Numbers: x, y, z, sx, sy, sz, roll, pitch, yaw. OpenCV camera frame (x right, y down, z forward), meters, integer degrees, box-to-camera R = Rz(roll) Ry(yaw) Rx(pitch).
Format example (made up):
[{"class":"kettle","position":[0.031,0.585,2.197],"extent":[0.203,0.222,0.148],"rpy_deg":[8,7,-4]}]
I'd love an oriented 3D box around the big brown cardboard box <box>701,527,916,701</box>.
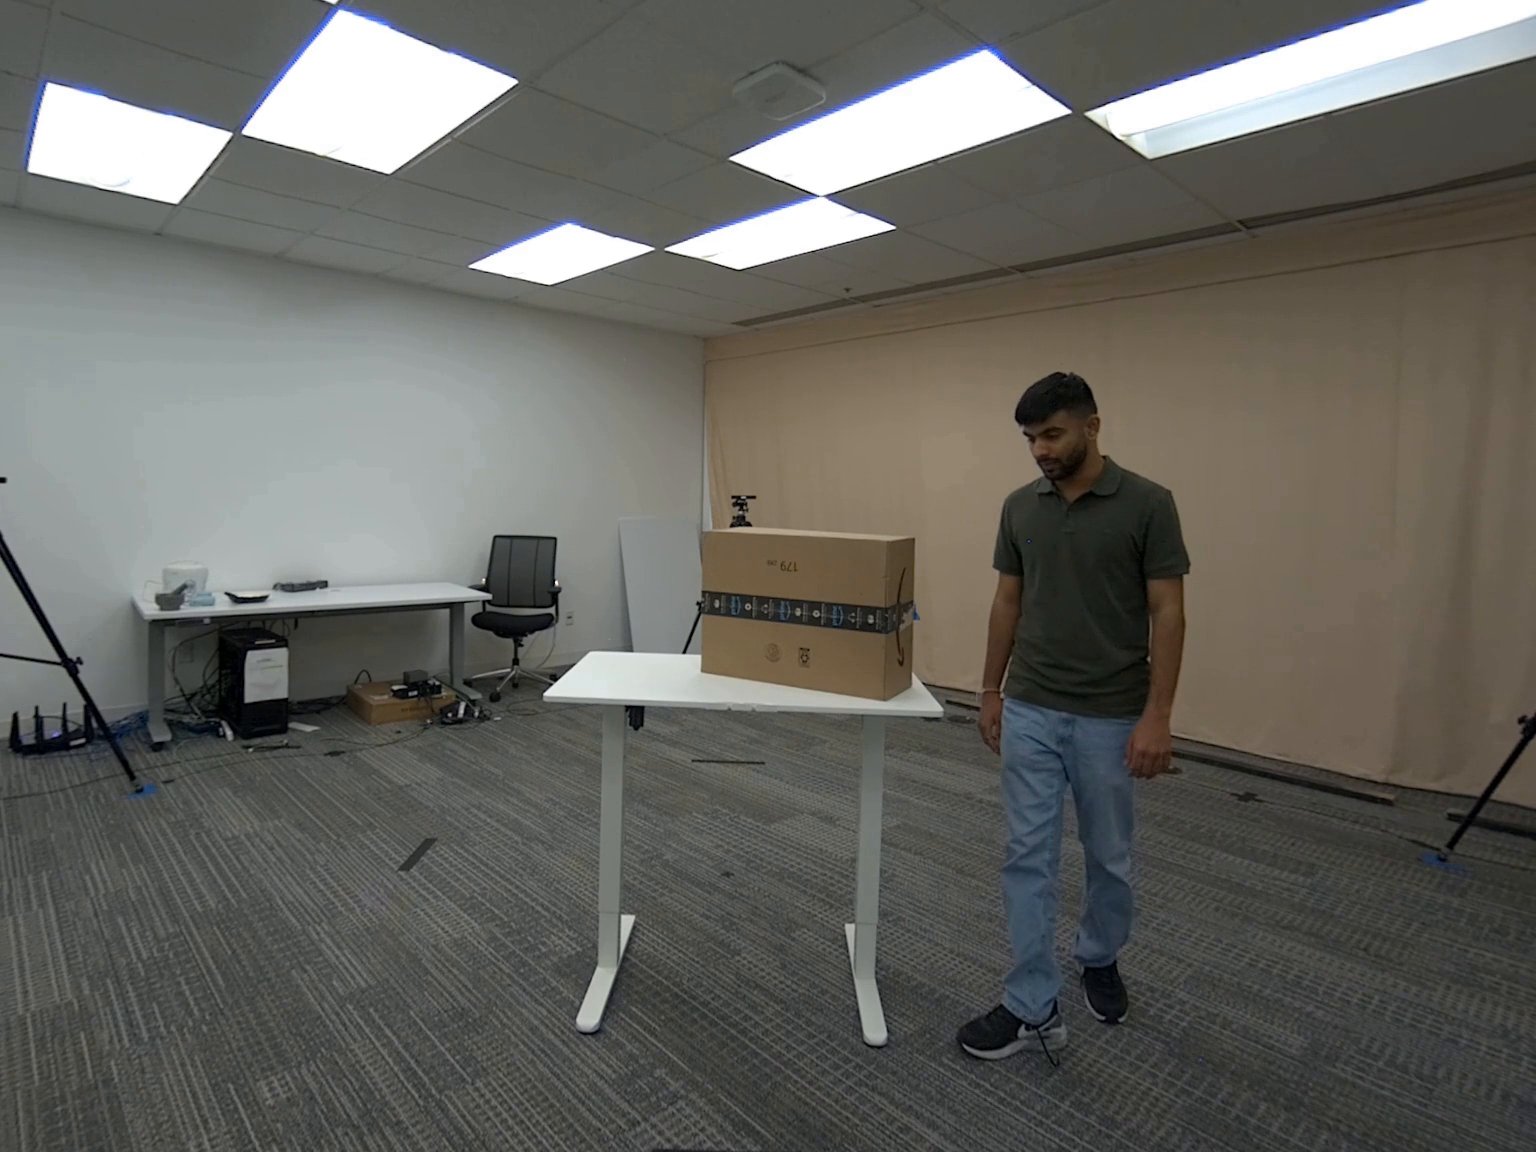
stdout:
[{"class":"big brown cardboard box","position":[0.091,0.091,2.371],"extent":[0.602,0.416,0.229],"rpy_deg":[5,6,31]}]
